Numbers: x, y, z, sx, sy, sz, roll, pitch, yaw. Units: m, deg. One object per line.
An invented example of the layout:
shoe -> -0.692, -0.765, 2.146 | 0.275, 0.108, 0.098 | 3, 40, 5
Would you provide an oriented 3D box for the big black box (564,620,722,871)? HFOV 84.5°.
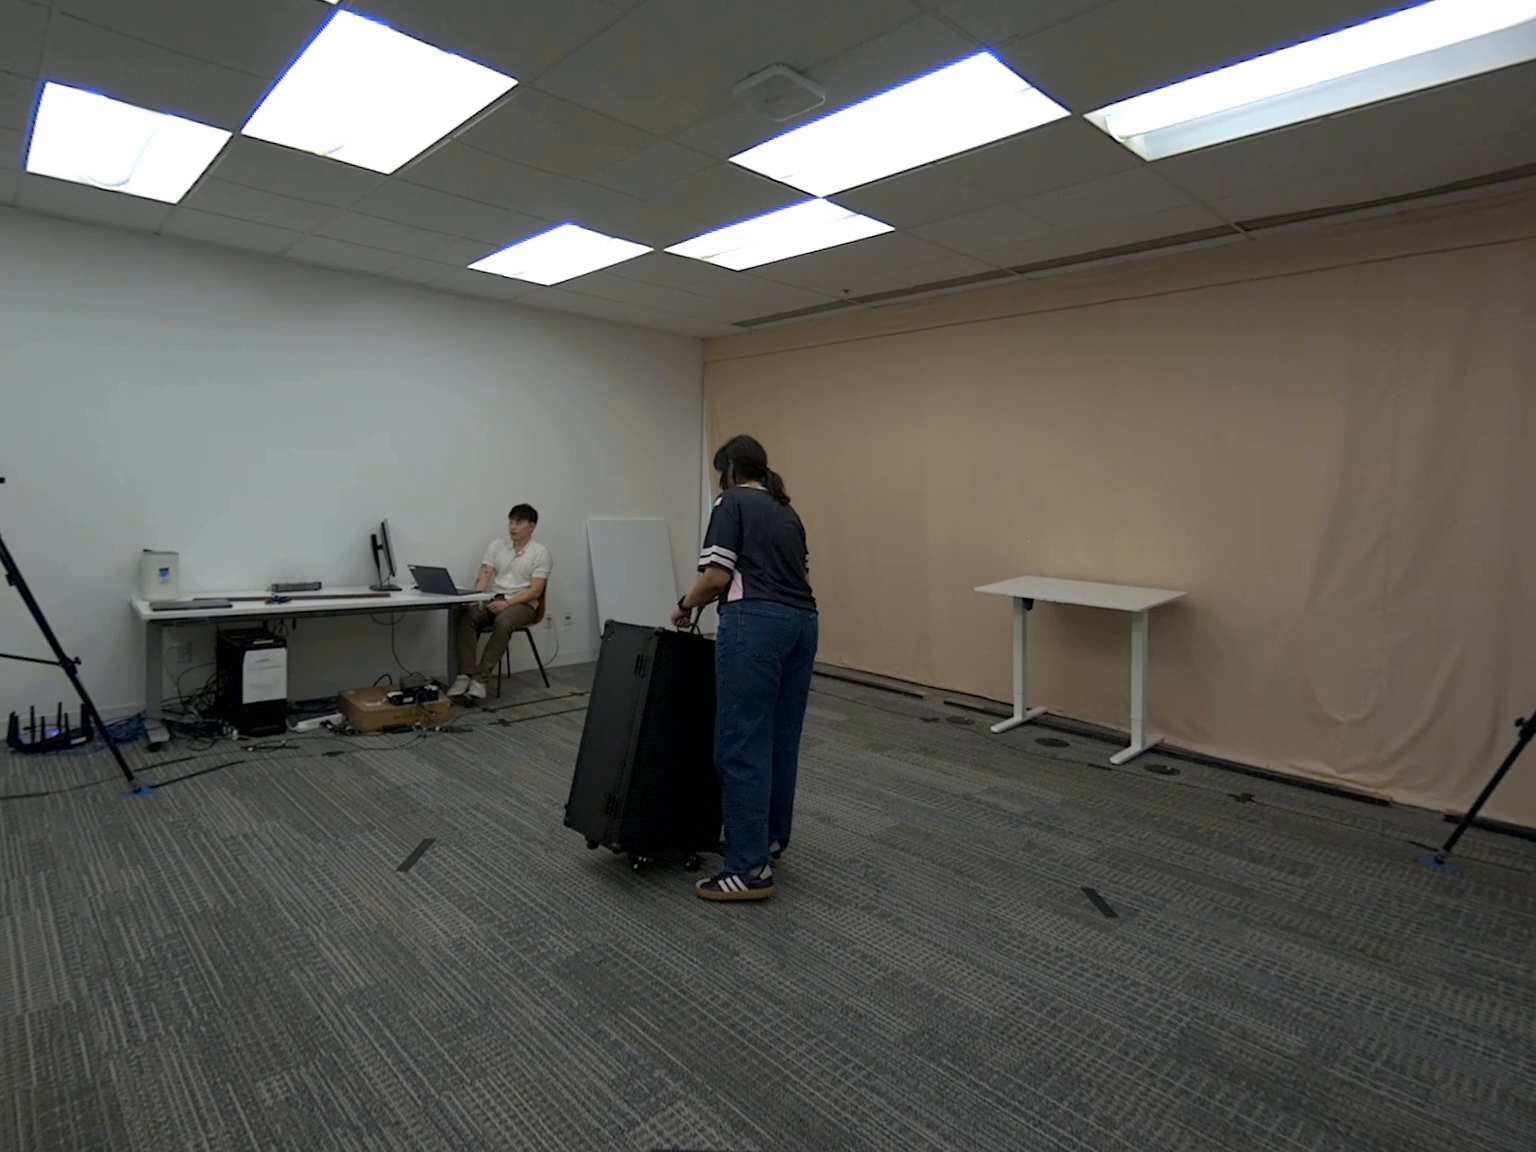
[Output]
big black box -> -0.428, 0.643, 3.215 | 0.508, 0.872, 0.395 | 17, -10, -43
